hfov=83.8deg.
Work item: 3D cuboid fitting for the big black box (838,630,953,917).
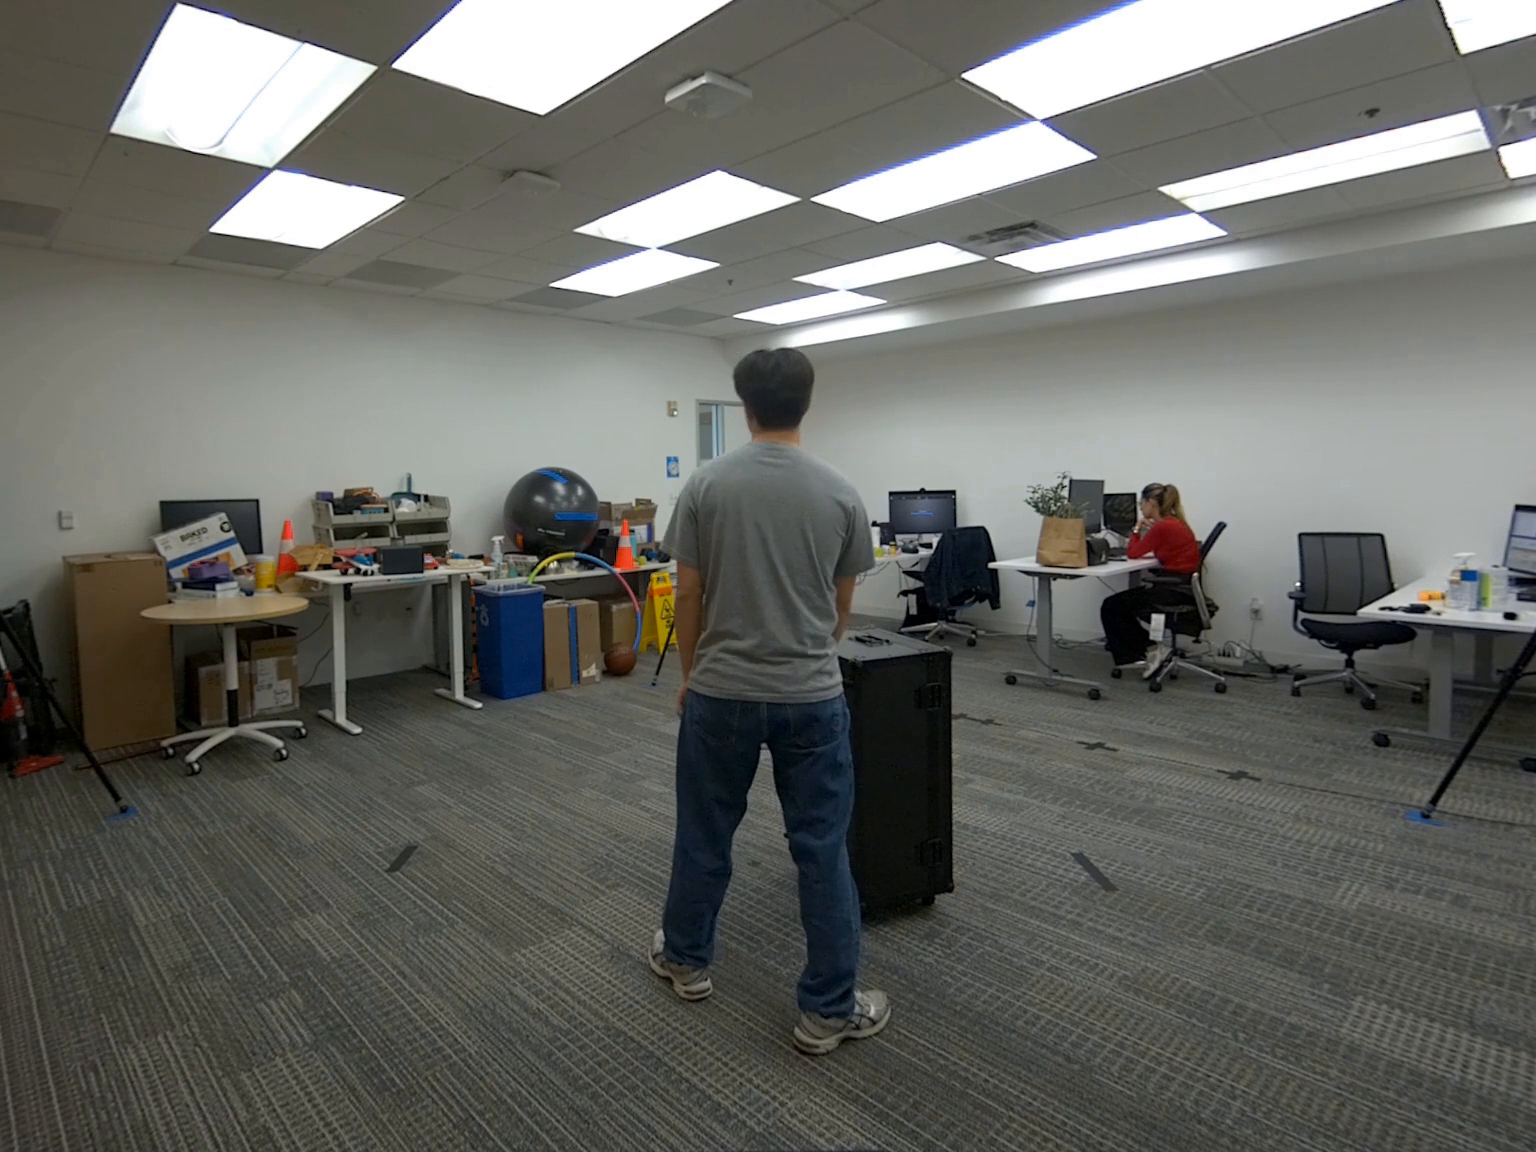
[{"bbox_3d":[0.328,0.641,2.853,0.389,0.858,0.533,-4,5,-22],"label":"big black box"}]
